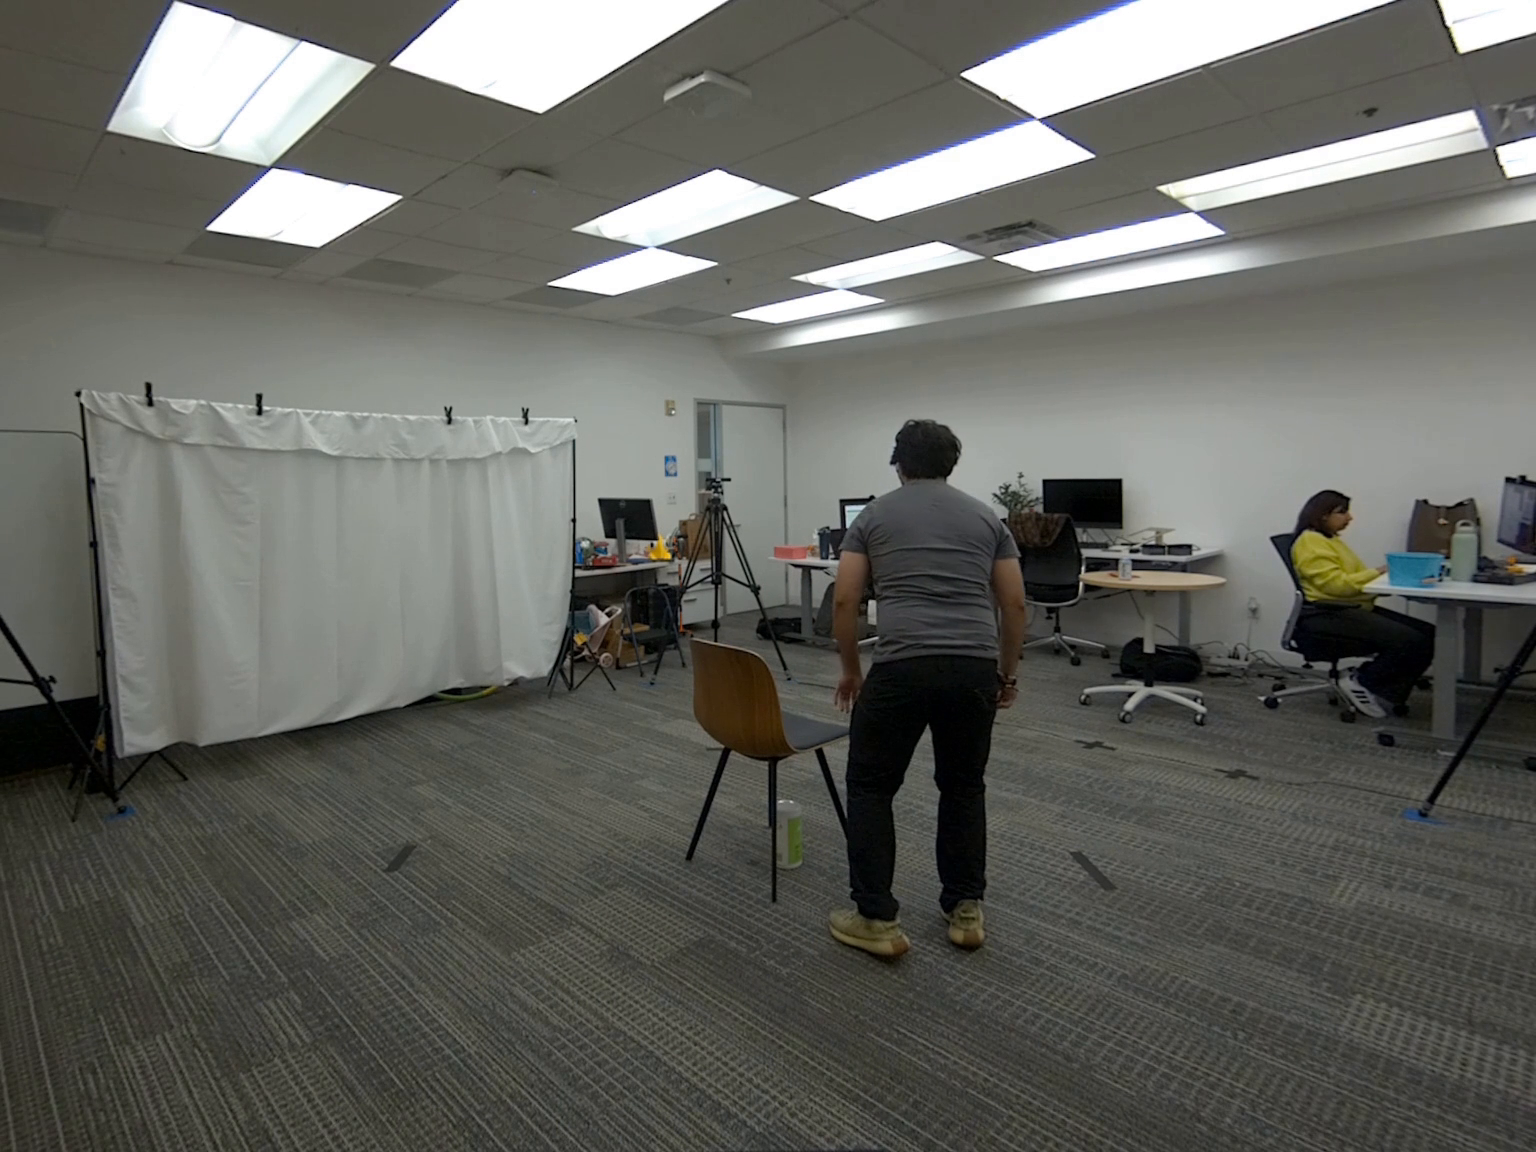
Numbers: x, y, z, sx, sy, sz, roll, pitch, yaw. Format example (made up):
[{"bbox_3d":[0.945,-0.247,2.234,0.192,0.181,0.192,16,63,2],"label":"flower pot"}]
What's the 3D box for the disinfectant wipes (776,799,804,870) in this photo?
[{"bbox_3d":[0.077,0.943,3.089,0.118,0.217,0.118,0,4,-2],"label":"disinfectant wipes"}]
